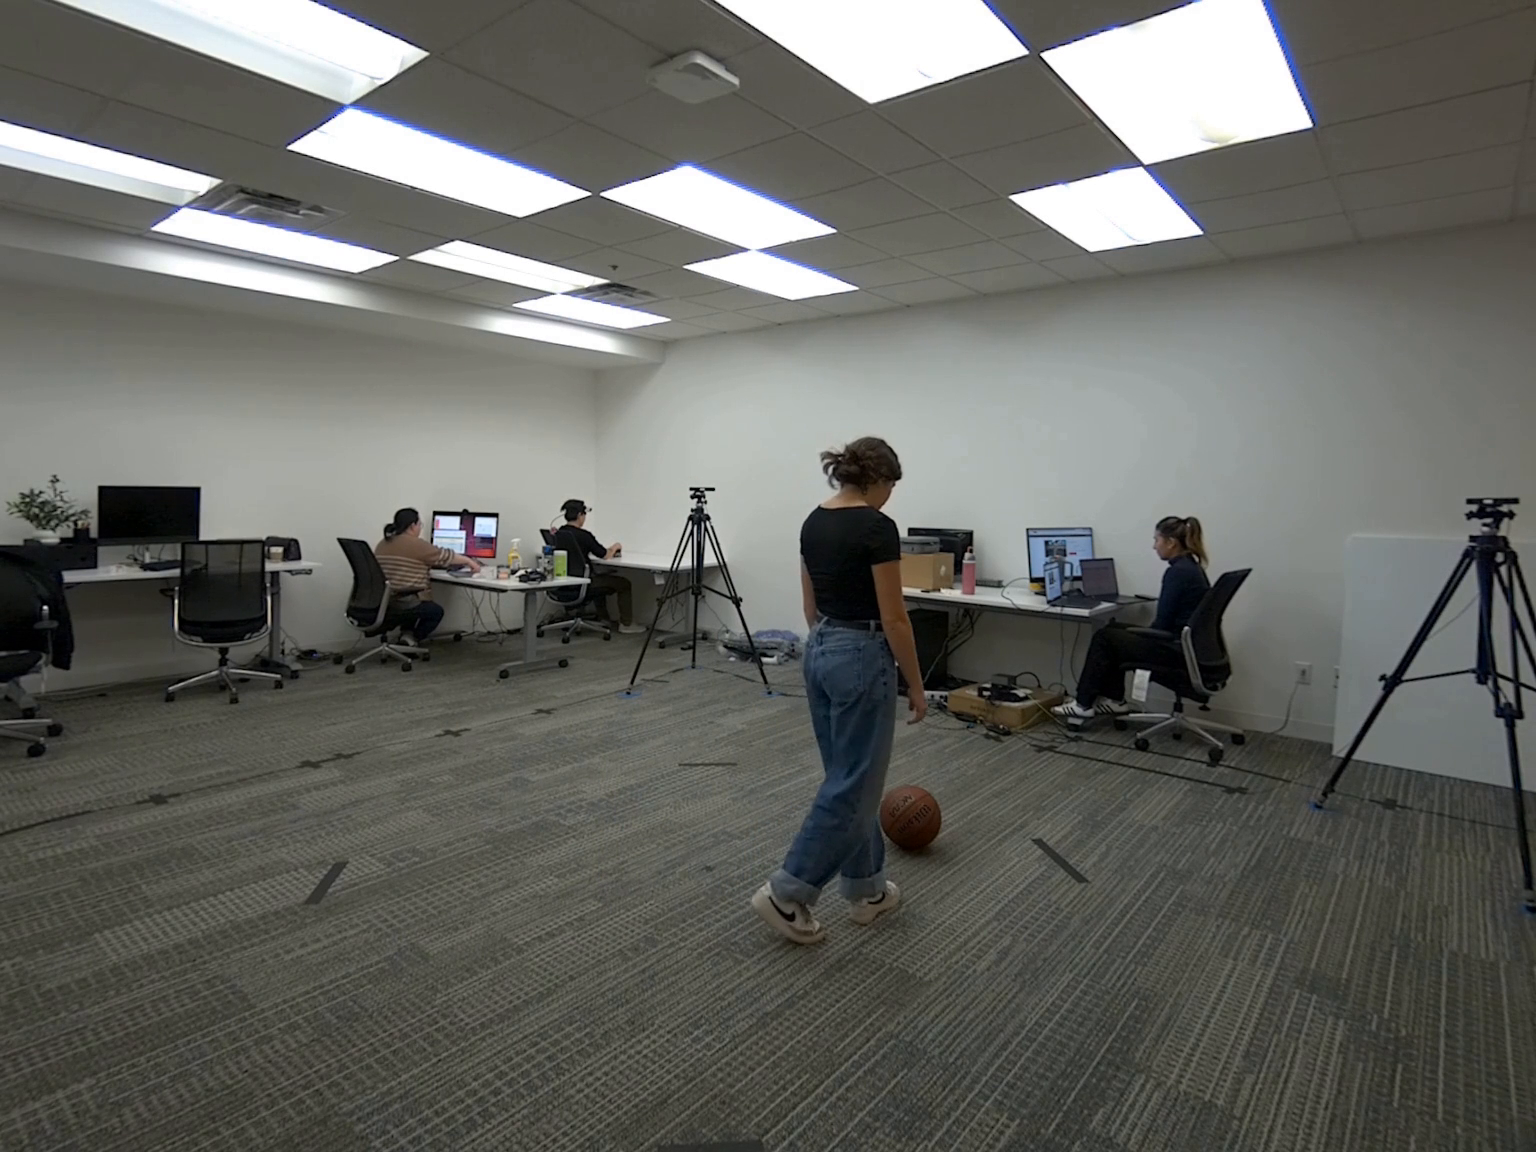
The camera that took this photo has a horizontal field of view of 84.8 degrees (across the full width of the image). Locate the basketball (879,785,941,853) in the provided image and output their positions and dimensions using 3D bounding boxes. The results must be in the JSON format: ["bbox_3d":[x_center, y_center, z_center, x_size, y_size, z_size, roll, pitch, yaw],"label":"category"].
[{"bbox_3d":[0.553,0.937,3.340,0.235,0.235,0.237,1,4,-2],"label":"basketball"}]
